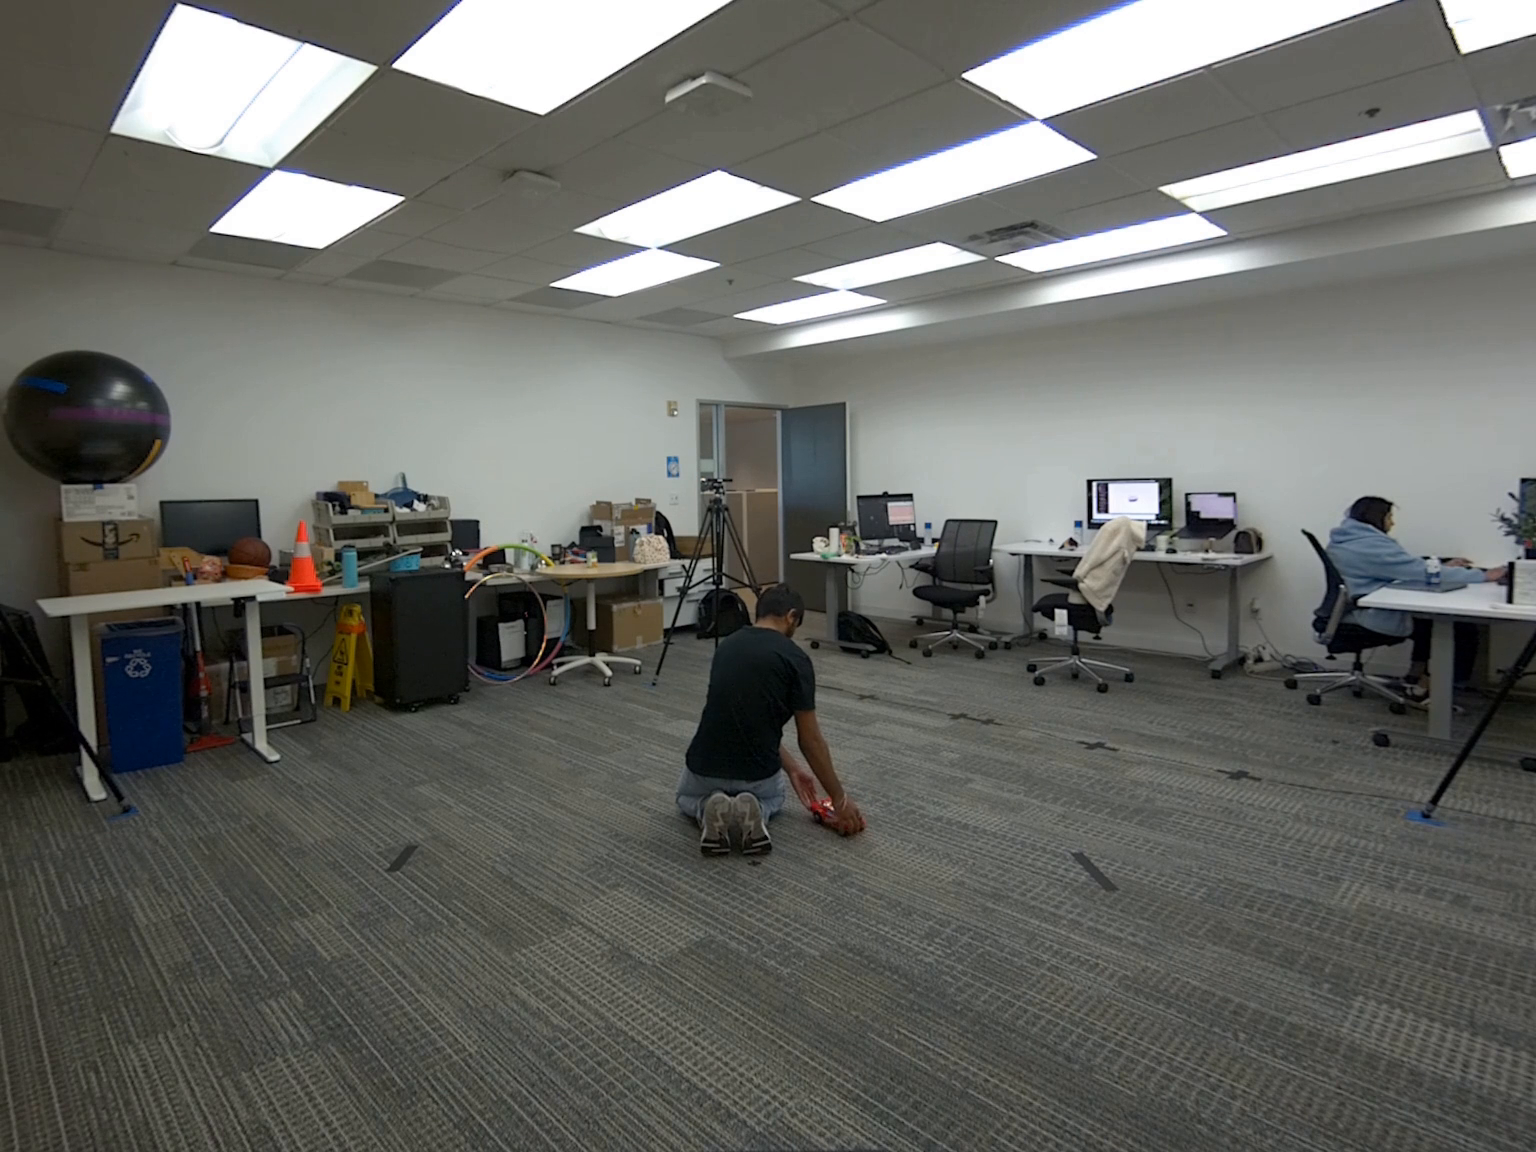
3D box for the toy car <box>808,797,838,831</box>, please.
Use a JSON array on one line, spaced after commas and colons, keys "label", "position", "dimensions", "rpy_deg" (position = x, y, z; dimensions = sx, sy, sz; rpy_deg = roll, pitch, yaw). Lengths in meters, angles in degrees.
[{"label": "toy car", "position": [0.271, 0.957, 3.441], "dimensions": [0.127, 0.082, 0.264], "rpy_deg": [-4, 19, -34]}]
